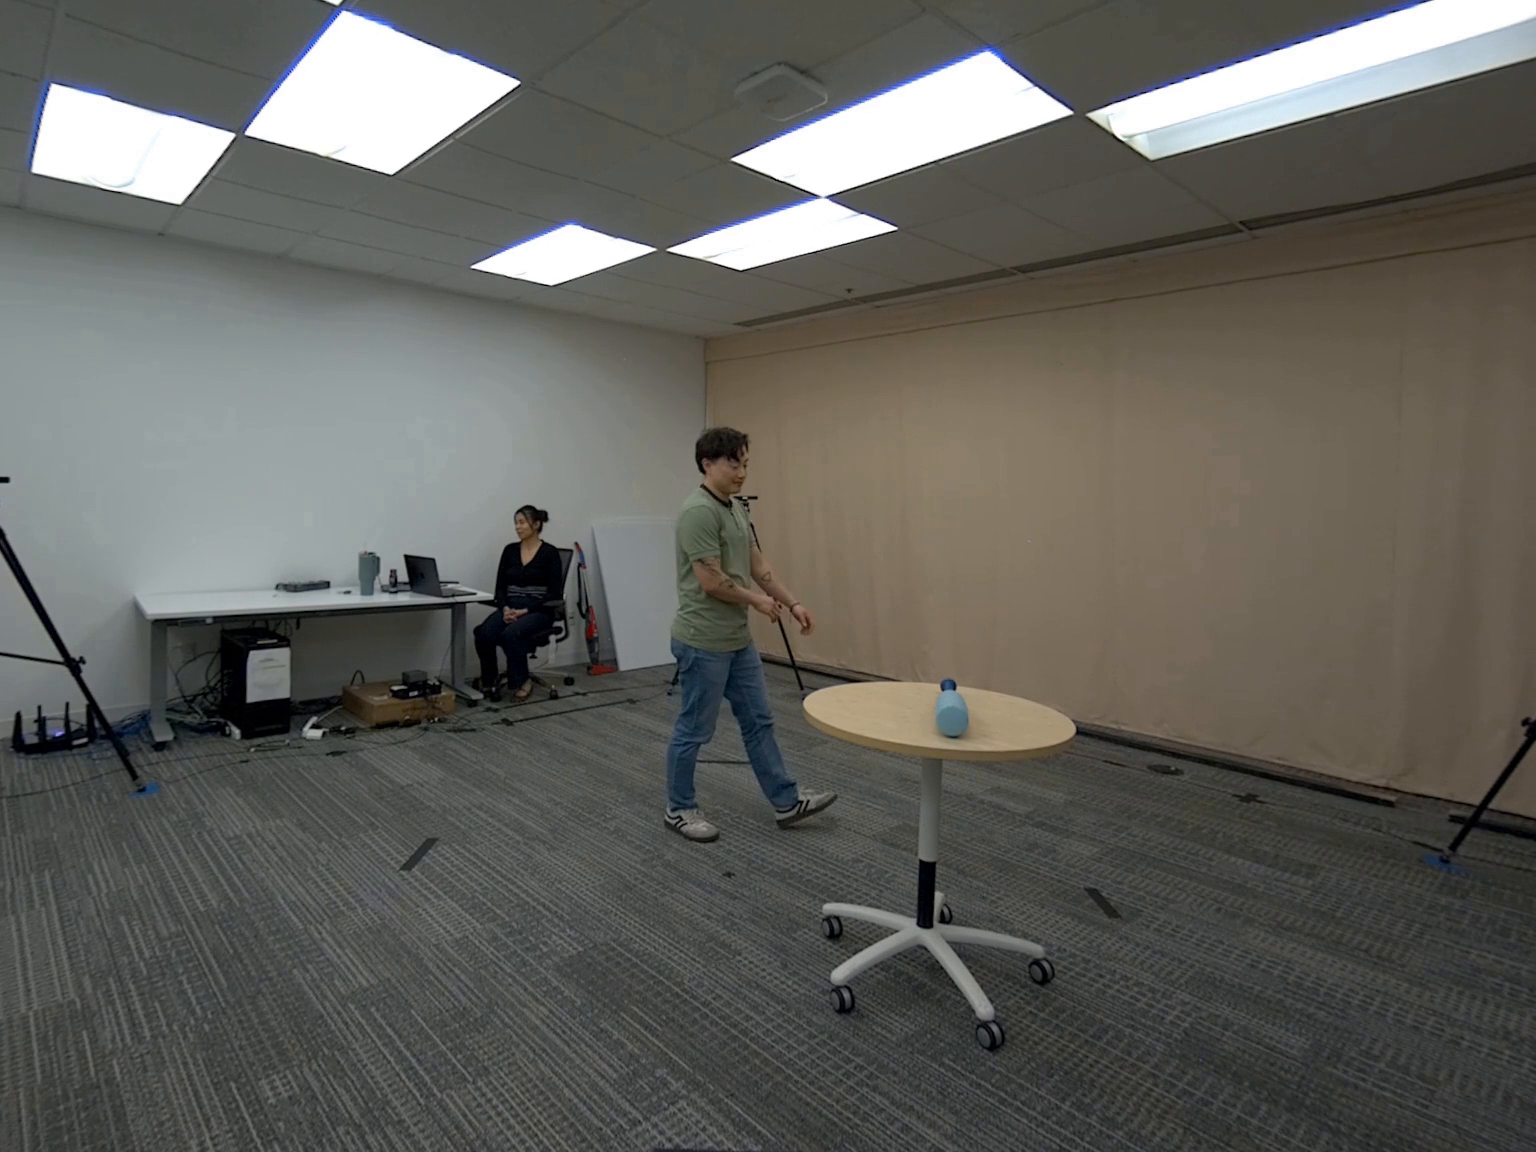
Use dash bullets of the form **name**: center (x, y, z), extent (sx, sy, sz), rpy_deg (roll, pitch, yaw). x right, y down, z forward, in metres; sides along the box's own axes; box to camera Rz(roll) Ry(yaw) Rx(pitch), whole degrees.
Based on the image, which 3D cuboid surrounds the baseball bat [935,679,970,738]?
- **baseball bat**: center (0.522, 0.367, 2.417), extent (0.090, 0.089, 0.538), rpy_deg (2, 3, 10)
